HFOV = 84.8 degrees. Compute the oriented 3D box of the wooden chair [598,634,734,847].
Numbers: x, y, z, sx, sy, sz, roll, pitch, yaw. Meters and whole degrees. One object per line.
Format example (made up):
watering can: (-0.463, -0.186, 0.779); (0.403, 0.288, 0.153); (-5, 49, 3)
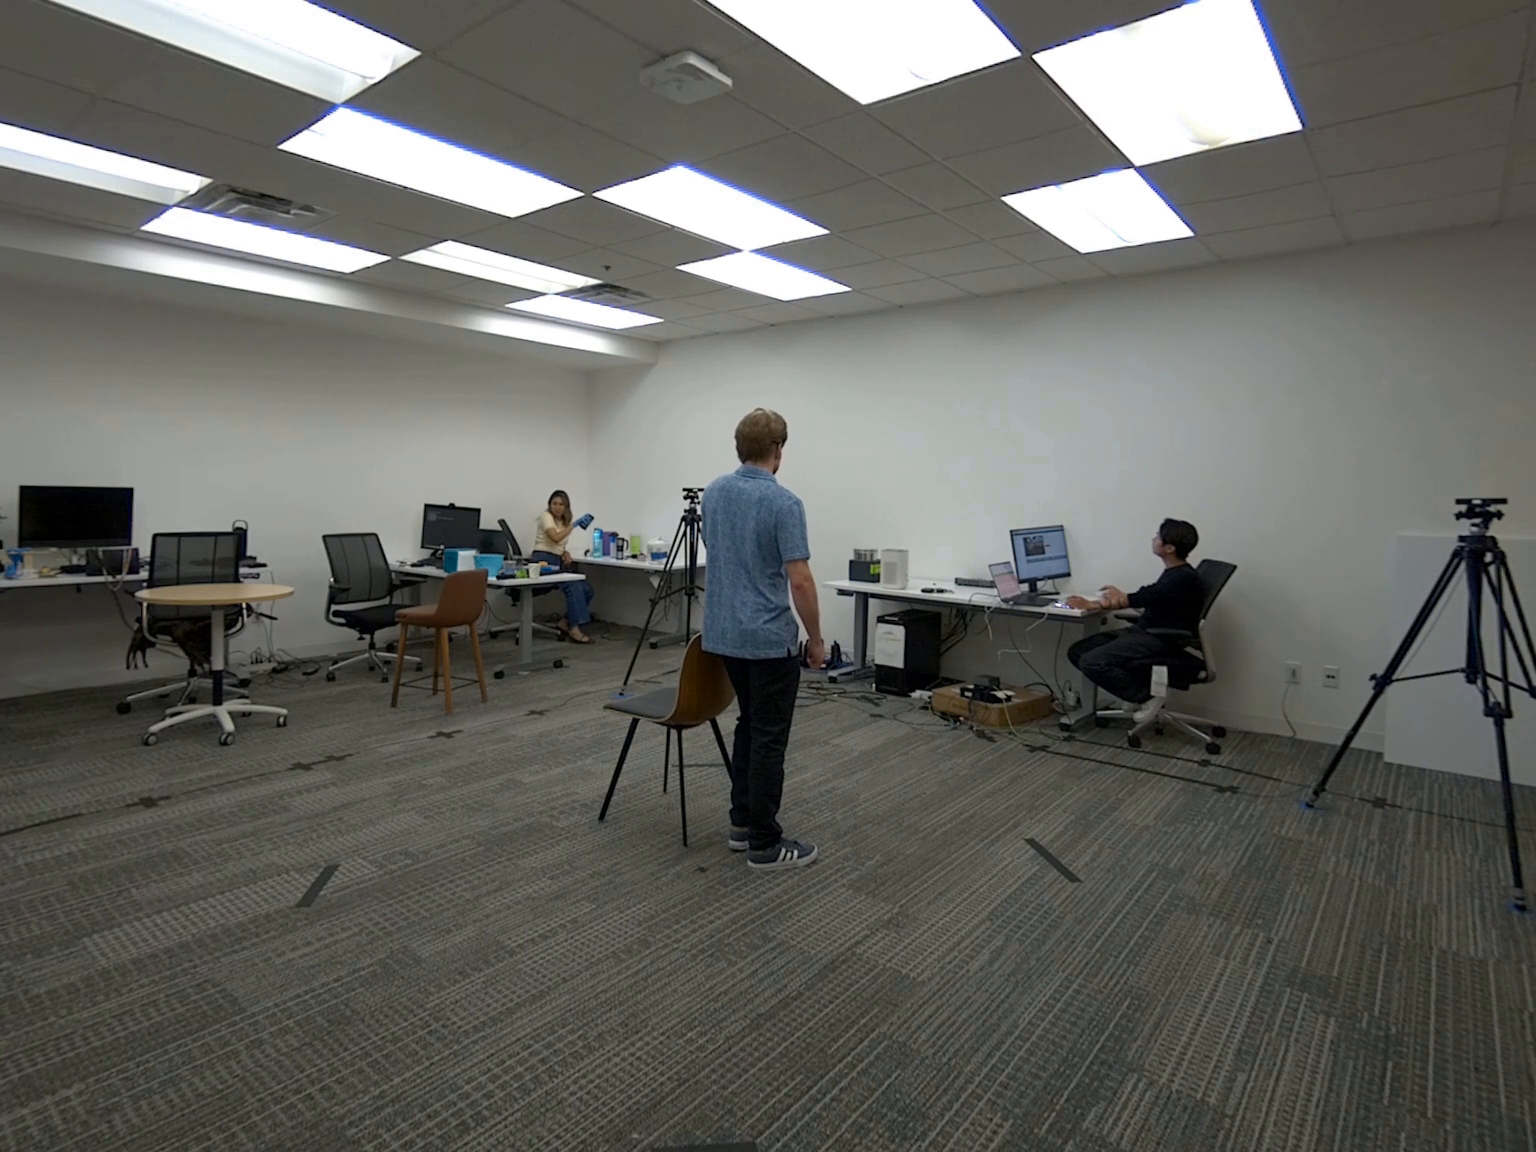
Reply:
wooden chair: (-0.408, 0.590, 3.583); (0.540, 0.873, 0.465); (9, 7, 32)
